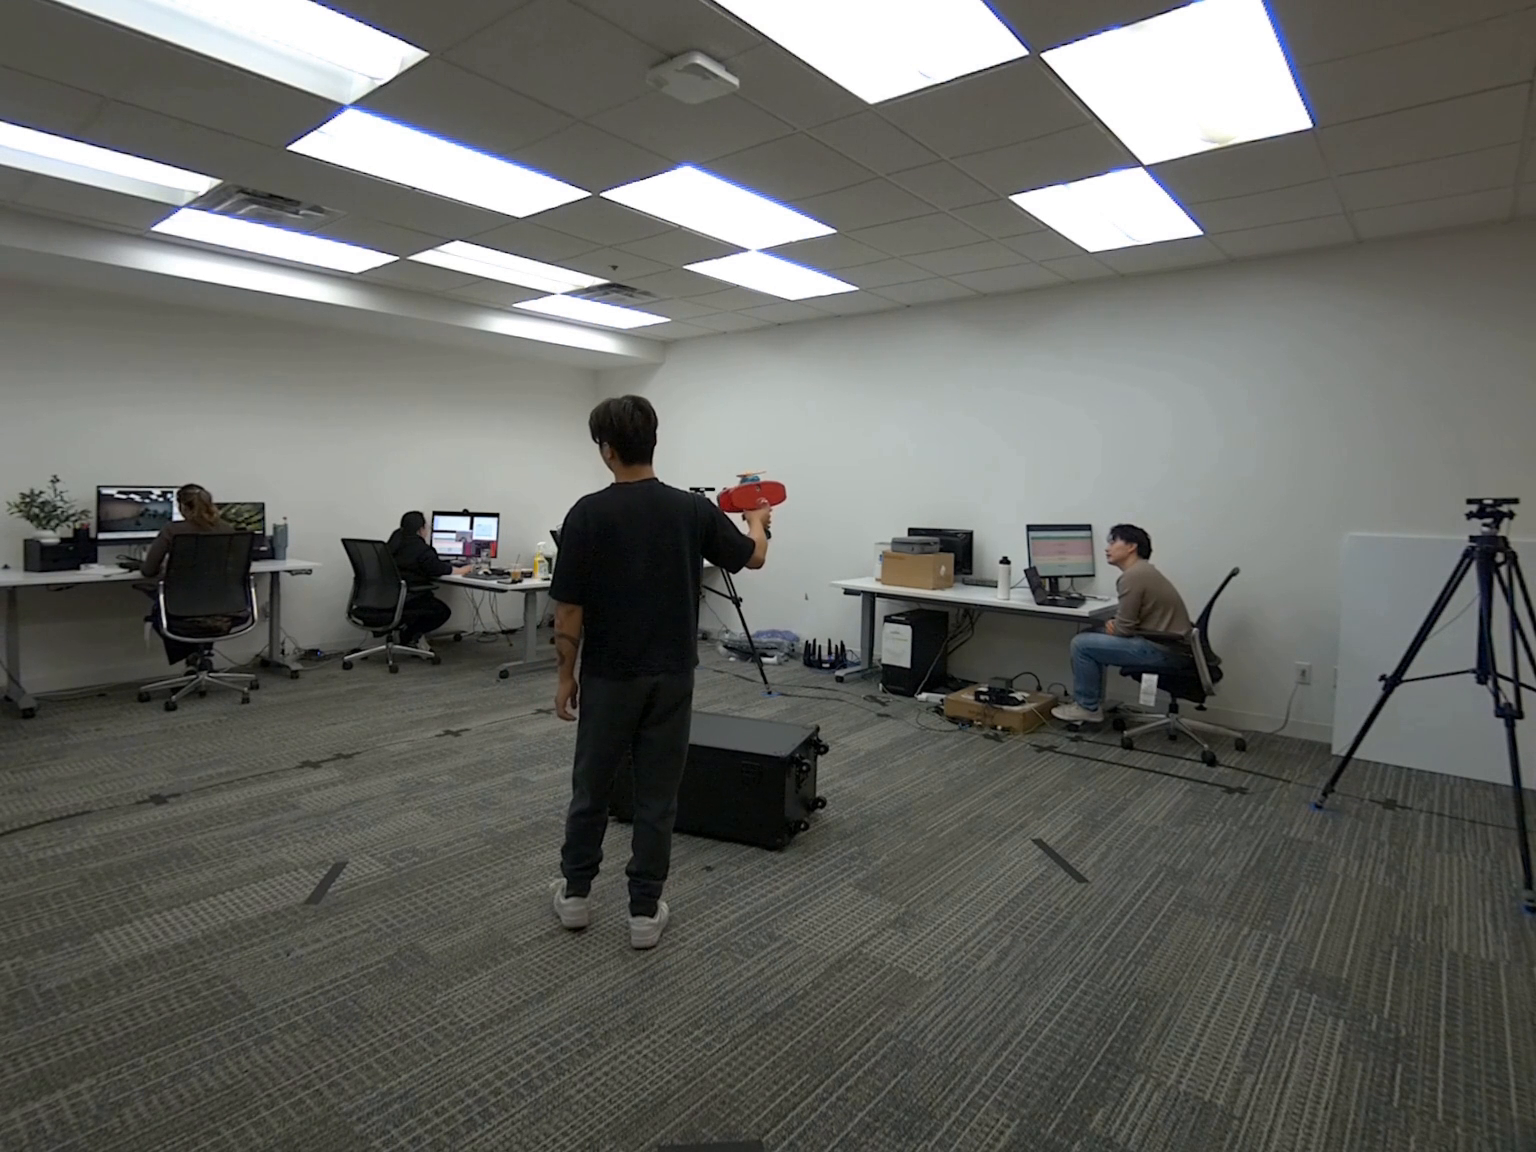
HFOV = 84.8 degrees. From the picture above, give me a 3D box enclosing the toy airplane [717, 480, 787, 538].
[{"bbox_3d":[-0.057,-0.258,3.114,0.250,0.258,0.158,-46,6,-38],"label":"toy airplane"}]
